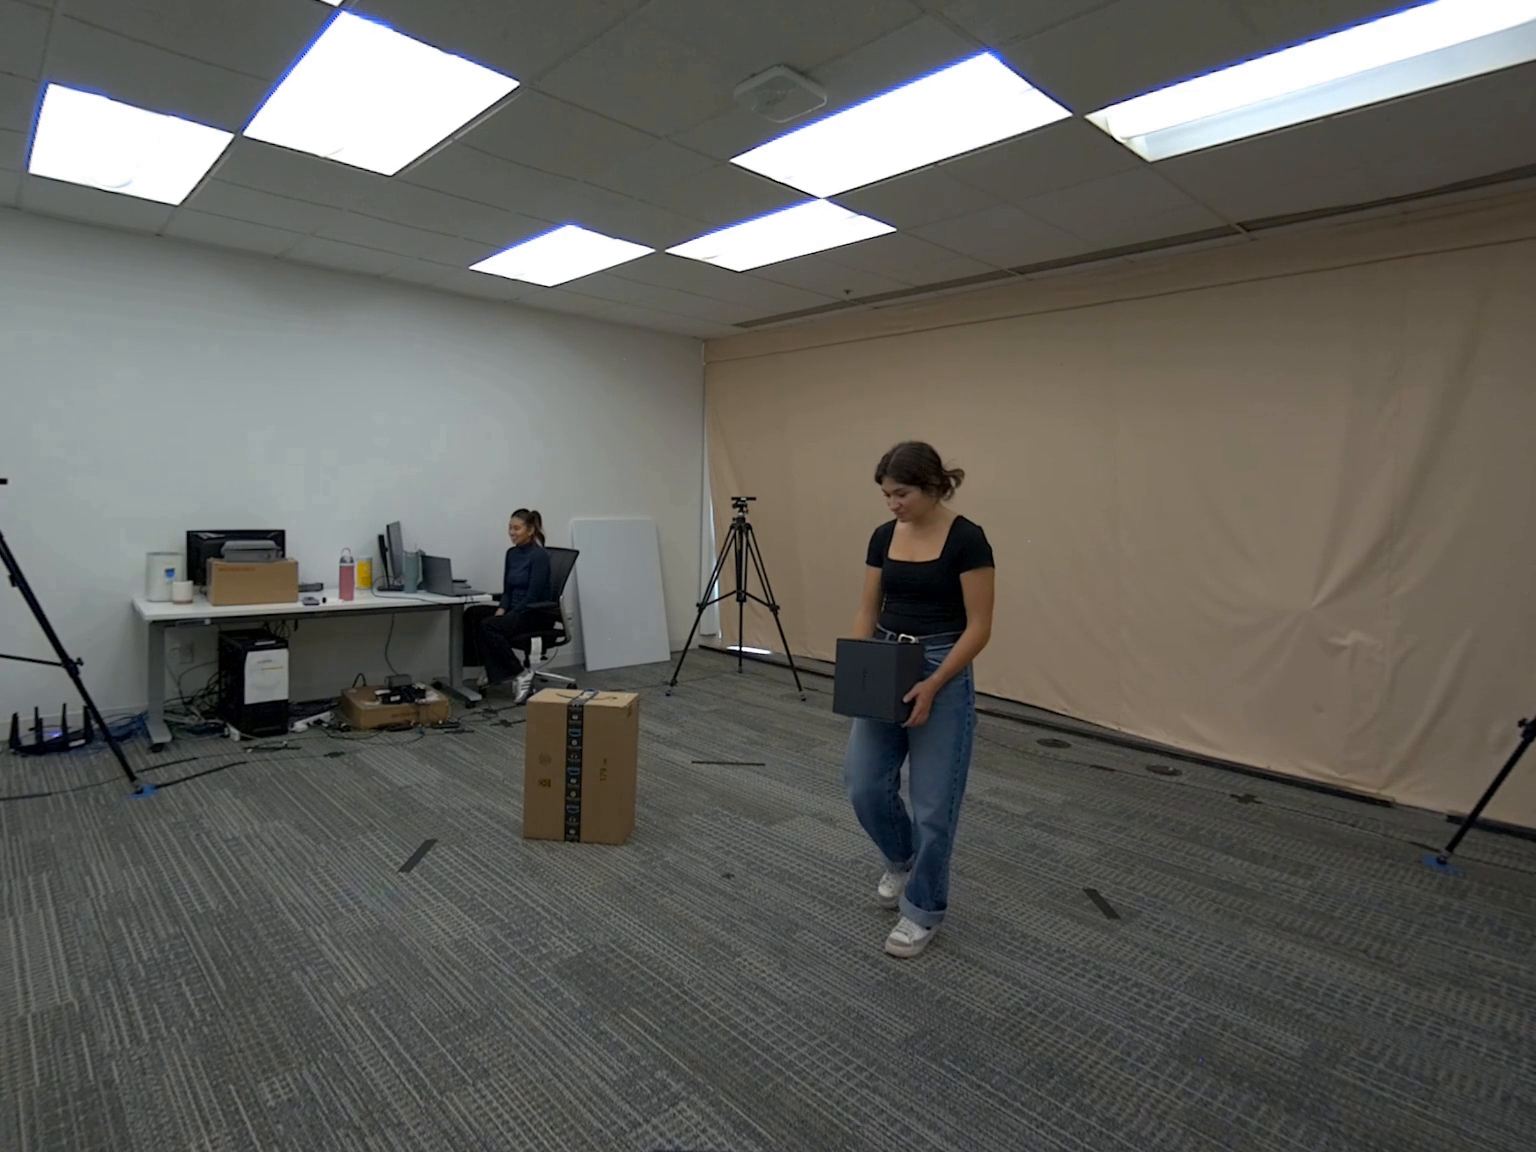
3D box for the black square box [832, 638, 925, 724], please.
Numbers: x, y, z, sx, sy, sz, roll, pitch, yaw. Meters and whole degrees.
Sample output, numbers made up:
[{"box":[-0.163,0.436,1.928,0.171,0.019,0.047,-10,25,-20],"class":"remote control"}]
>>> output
[{"box":[0.317,0.303,2.517,0.222,0.228,0.152,-1,-4,41],"class":"black square box"}]
